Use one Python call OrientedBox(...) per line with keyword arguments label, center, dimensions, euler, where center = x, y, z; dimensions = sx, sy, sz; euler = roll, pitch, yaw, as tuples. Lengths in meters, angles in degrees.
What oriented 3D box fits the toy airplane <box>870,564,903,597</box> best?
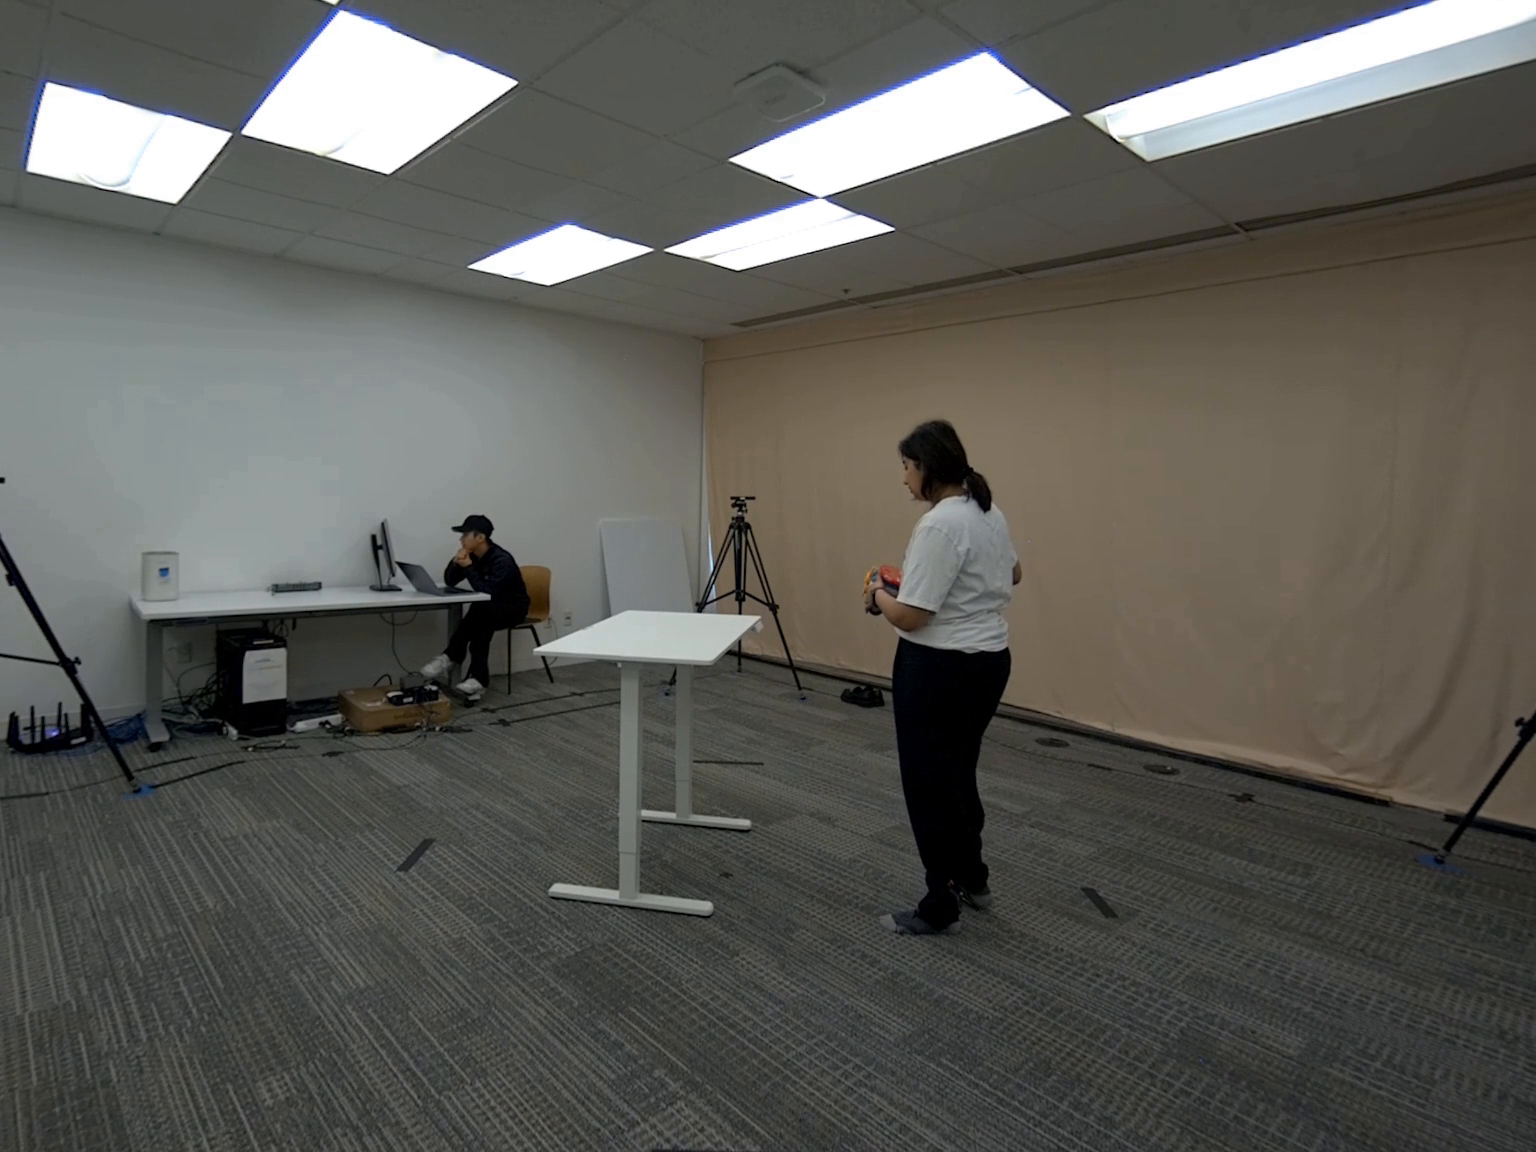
OrientedBox(label="toy airplane", center=(0.463, 0.059, 2.940), dimensions=(0.255, 0.155, 0.256), euler=(-1, 10, -21))
